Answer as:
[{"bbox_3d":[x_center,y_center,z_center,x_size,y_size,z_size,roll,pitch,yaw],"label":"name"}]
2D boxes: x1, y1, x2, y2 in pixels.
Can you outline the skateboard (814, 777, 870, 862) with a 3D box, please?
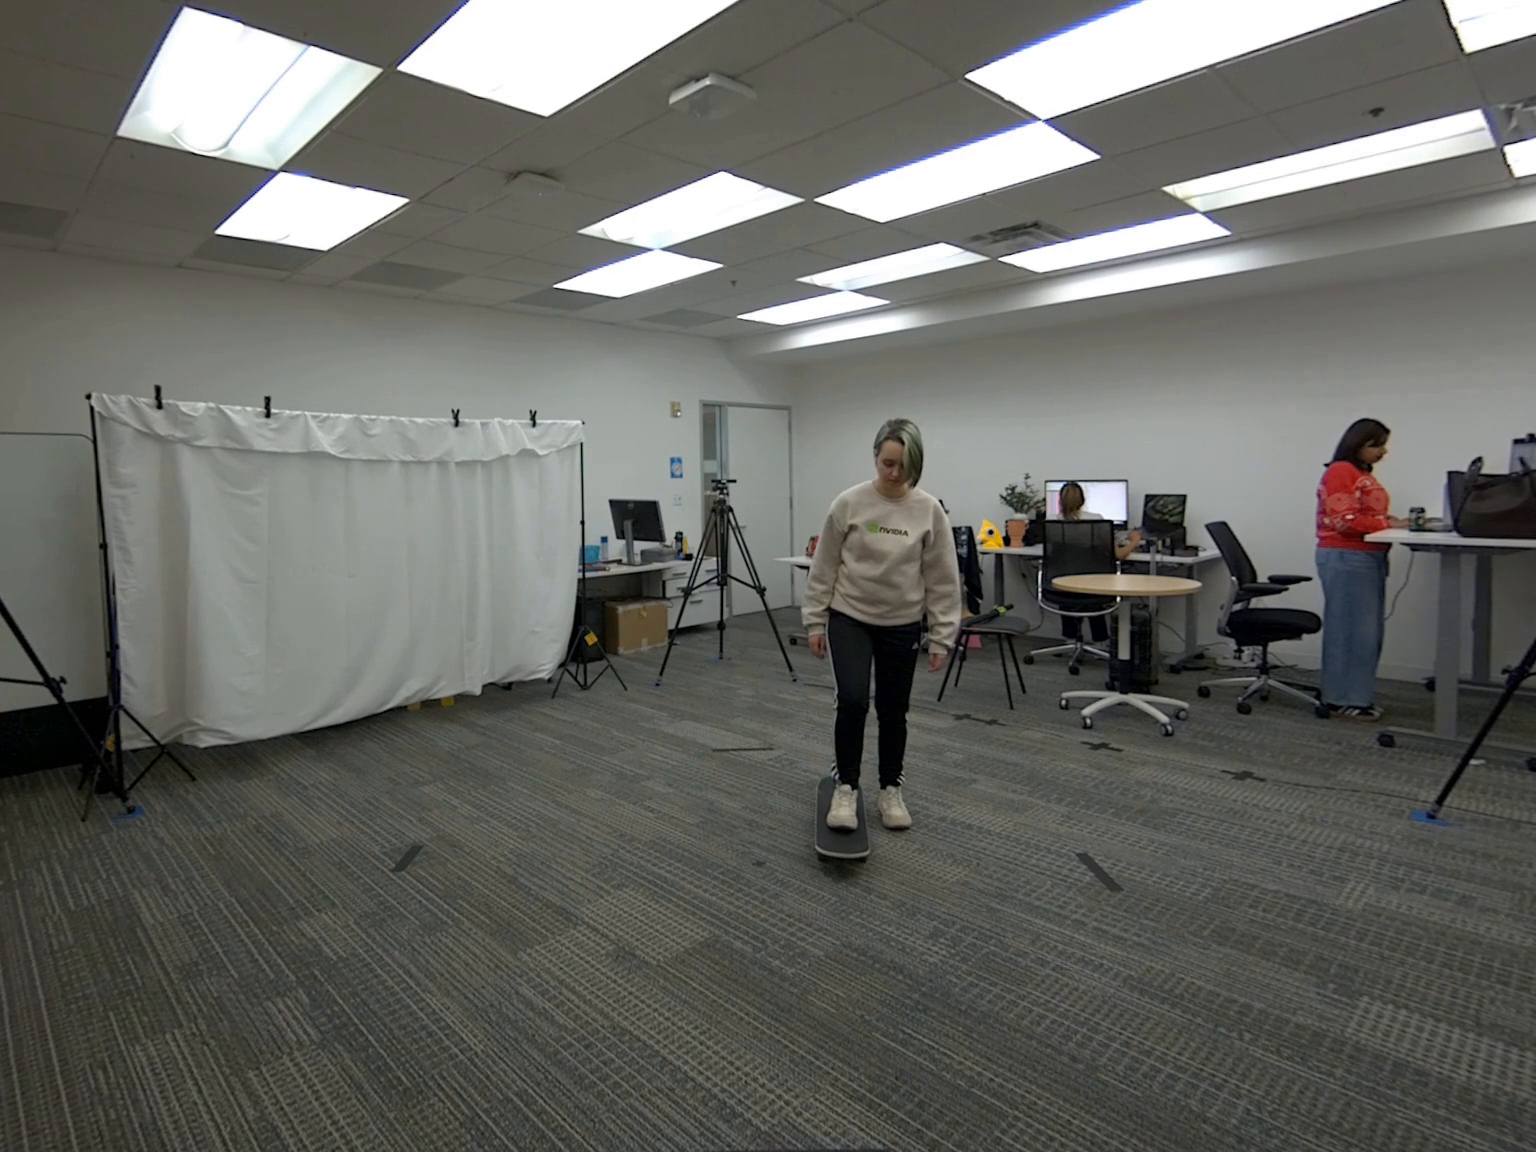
[{"bbox_3d":[0.281,0.966,3.326,0.194,0.110,0.786,0,6,2],"label":"skateboard"}]
